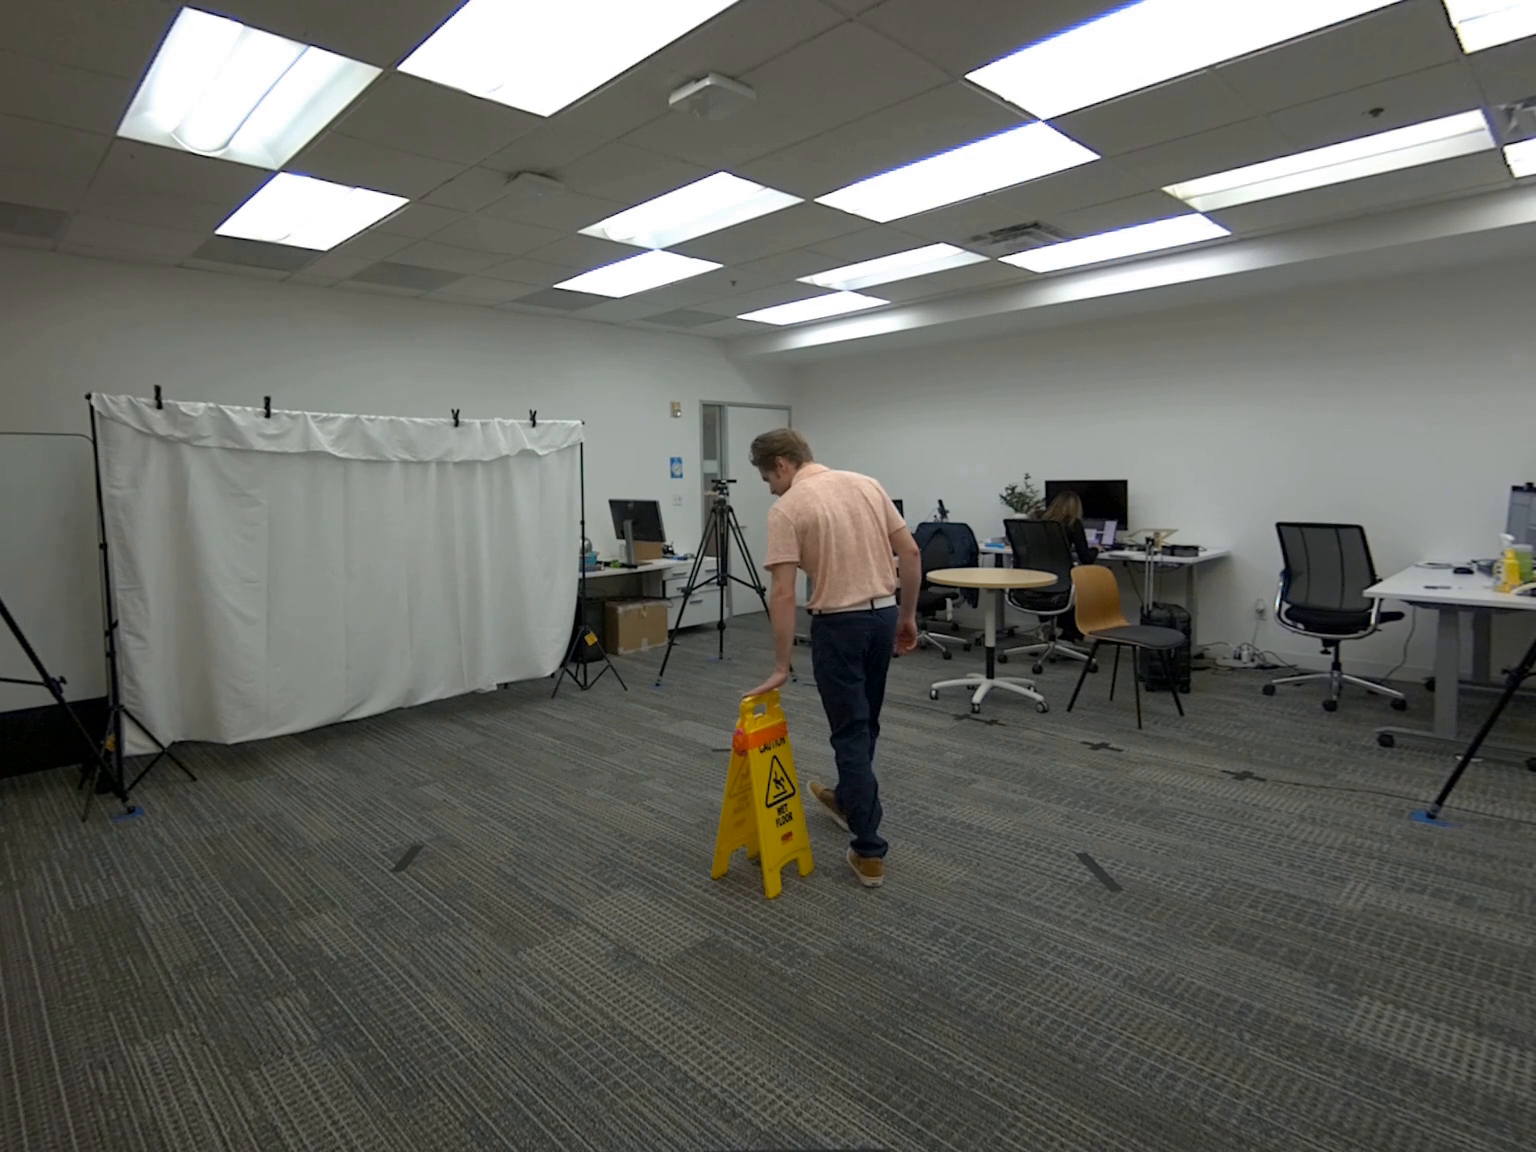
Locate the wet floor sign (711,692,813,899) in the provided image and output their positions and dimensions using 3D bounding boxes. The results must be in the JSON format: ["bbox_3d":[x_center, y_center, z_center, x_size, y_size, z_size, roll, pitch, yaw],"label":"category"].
[{"bbox_3d":[-0.024,0.731,3.006,0.298,0.644,0.275,1,4,38],"label":"wet floor sign"}]
